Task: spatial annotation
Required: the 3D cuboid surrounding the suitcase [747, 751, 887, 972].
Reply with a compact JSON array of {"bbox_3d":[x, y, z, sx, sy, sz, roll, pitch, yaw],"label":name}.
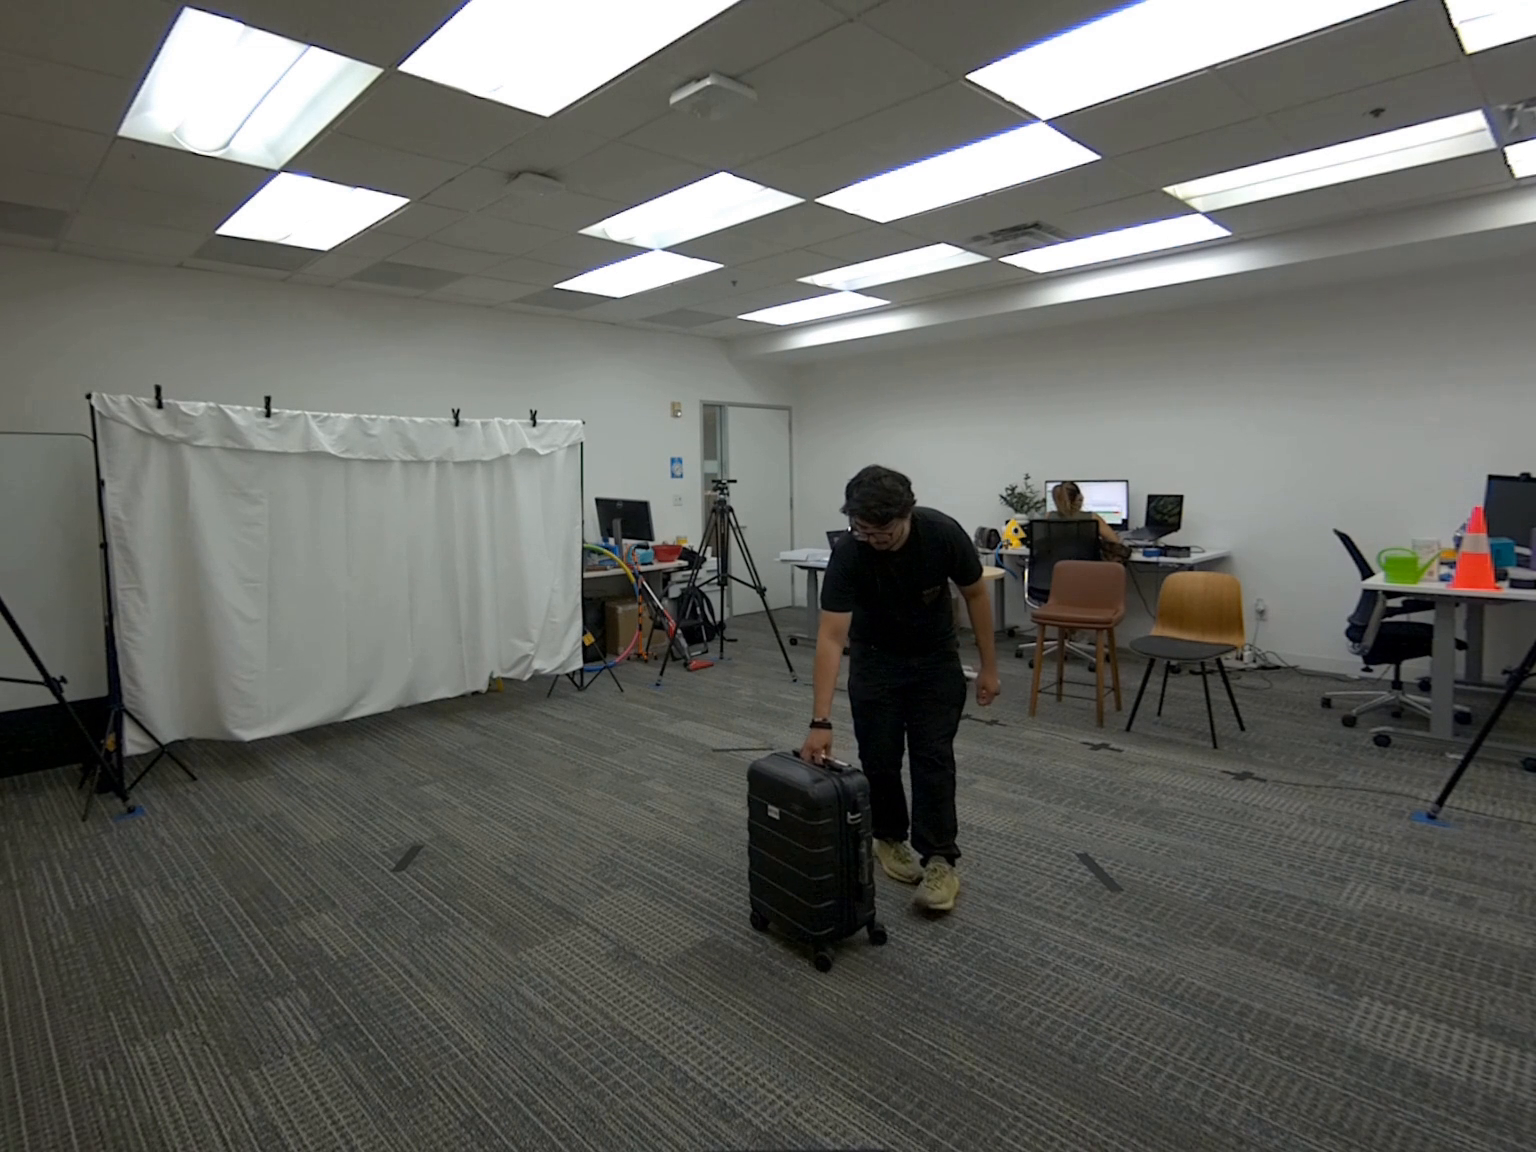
[{"bbox_3d":[0.131,0.830,2.611,0.242,0.547,0.386,-6,5,-38],"label":"suitcase"}]
